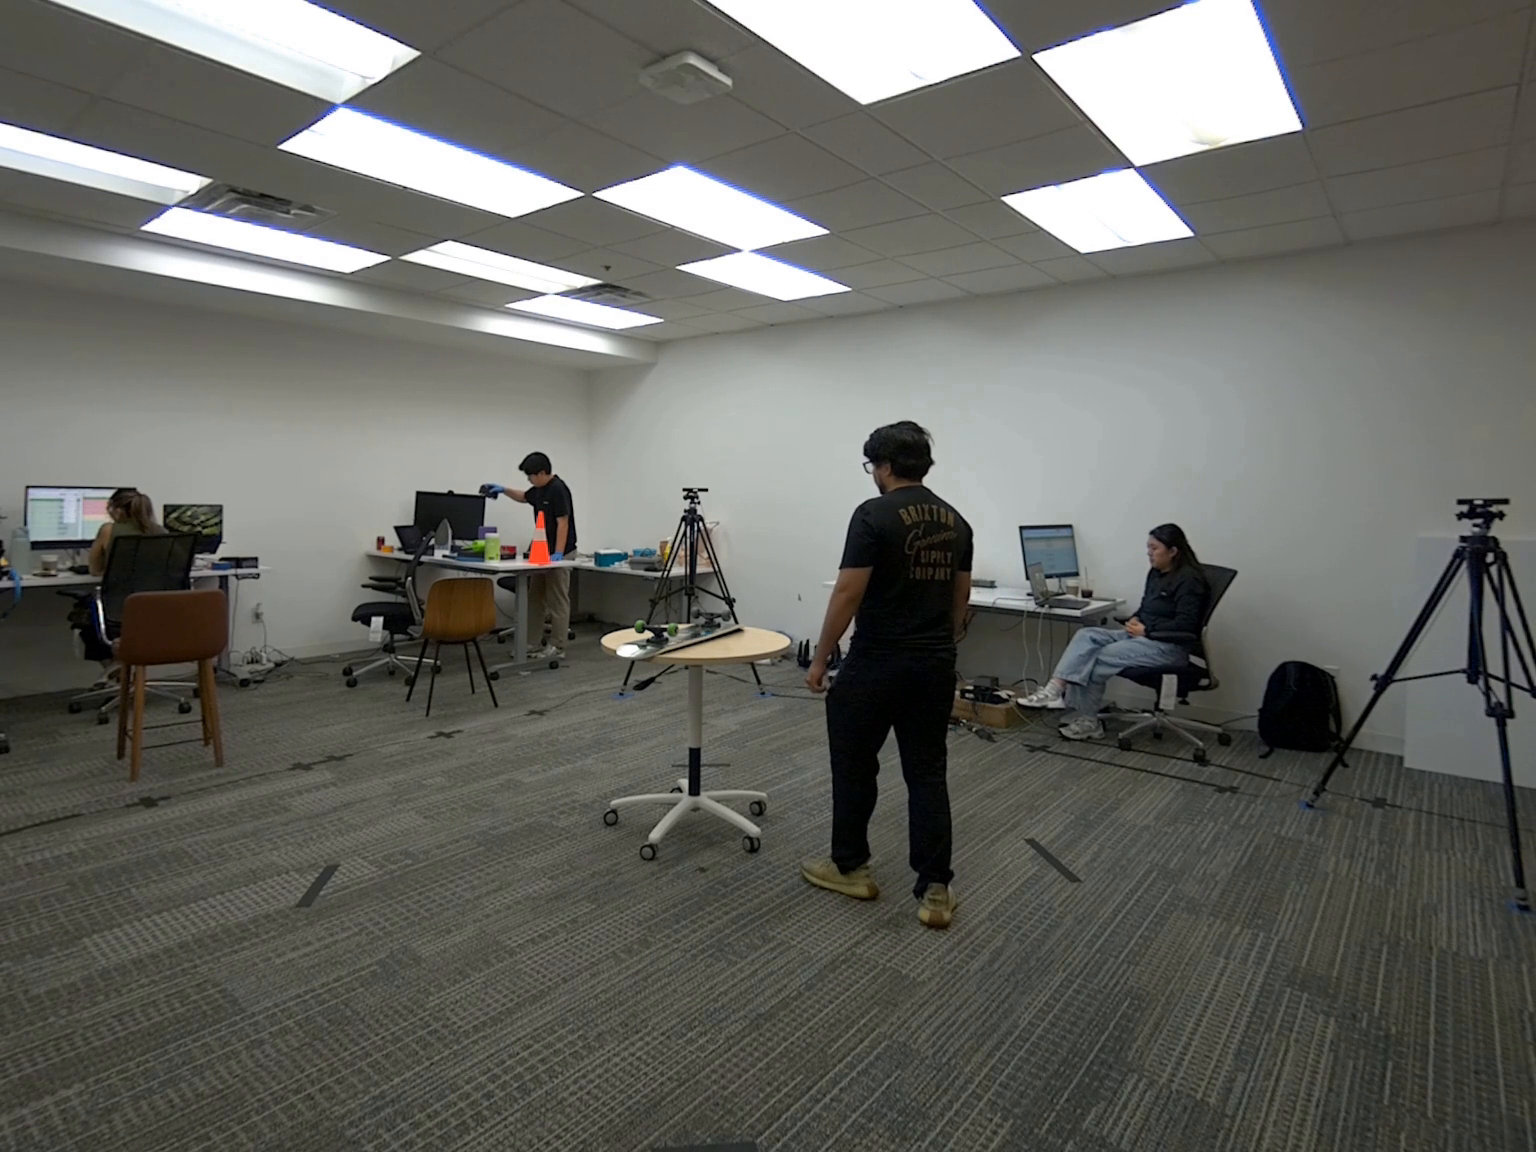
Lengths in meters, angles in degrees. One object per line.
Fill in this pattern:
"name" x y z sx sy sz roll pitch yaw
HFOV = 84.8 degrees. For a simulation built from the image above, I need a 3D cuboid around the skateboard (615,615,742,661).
"skateboard" -0.347 0.212 3.427 0.199 0.110 0.766 5 8 30
